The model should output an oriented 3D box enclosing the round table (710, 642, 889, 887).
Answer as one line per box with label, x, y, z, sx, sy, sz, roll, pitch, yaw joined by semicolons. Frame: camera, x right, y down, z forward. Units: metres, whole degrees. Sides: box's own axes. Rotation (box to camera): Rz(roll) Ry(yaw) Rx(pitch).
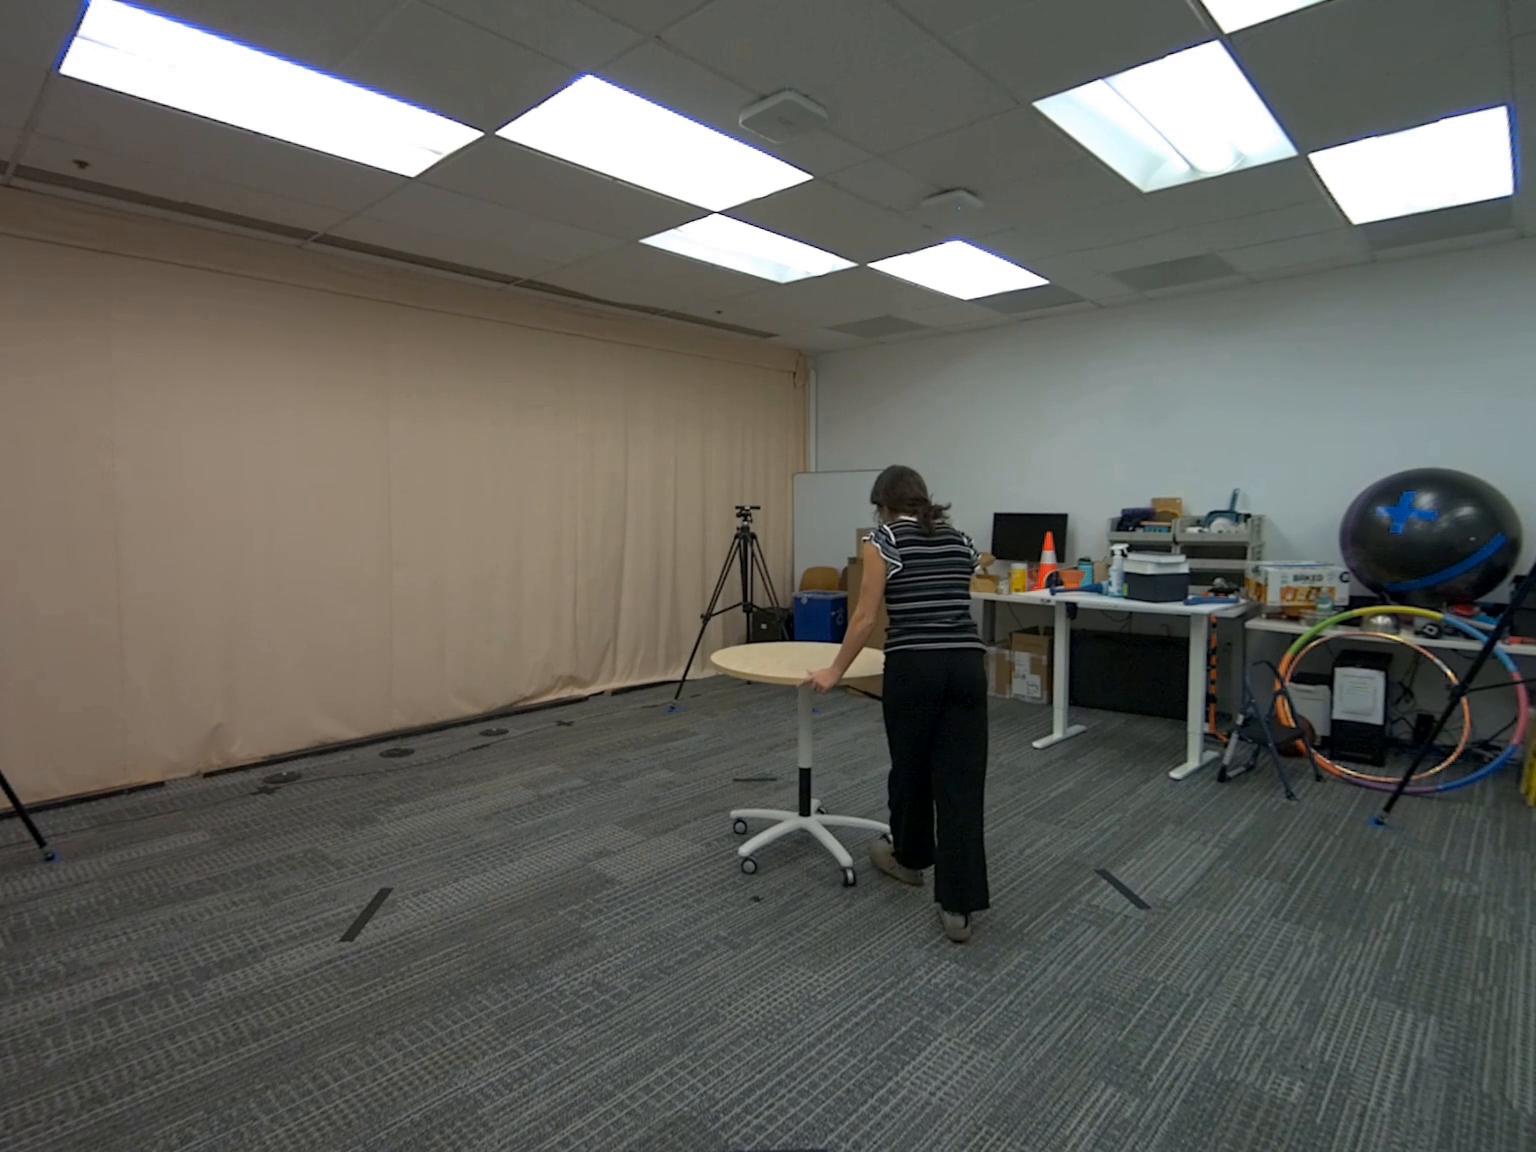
round table;0.148;0.721;3.395;0.763;0.792;0.766;0;4;-2
